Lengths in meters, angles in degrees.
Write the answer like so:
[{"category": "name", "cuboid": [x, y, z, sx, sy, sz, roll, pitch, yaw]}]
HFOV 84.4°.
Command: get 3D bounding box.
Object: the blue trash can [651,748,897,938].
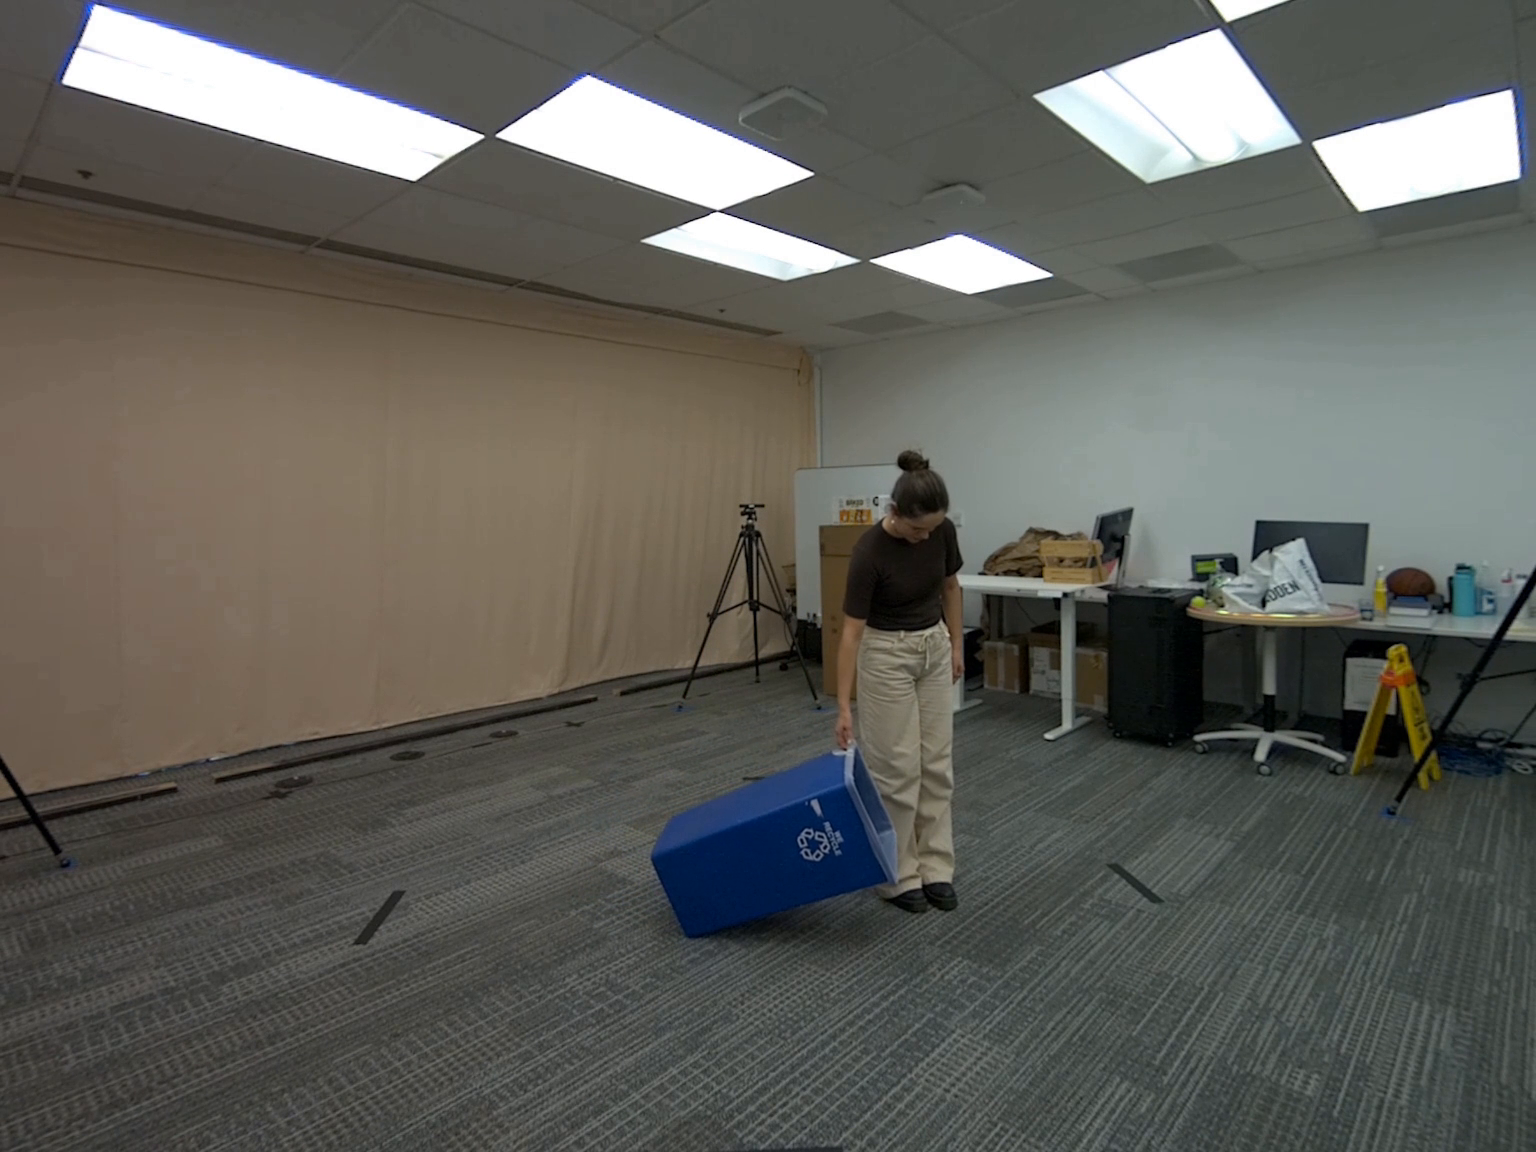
[{"category": "blue trash can", "cuboid": [0.027, 0.878, 2.764, 0.719, 0.373, 0.376, -24, 3, 11]}]
